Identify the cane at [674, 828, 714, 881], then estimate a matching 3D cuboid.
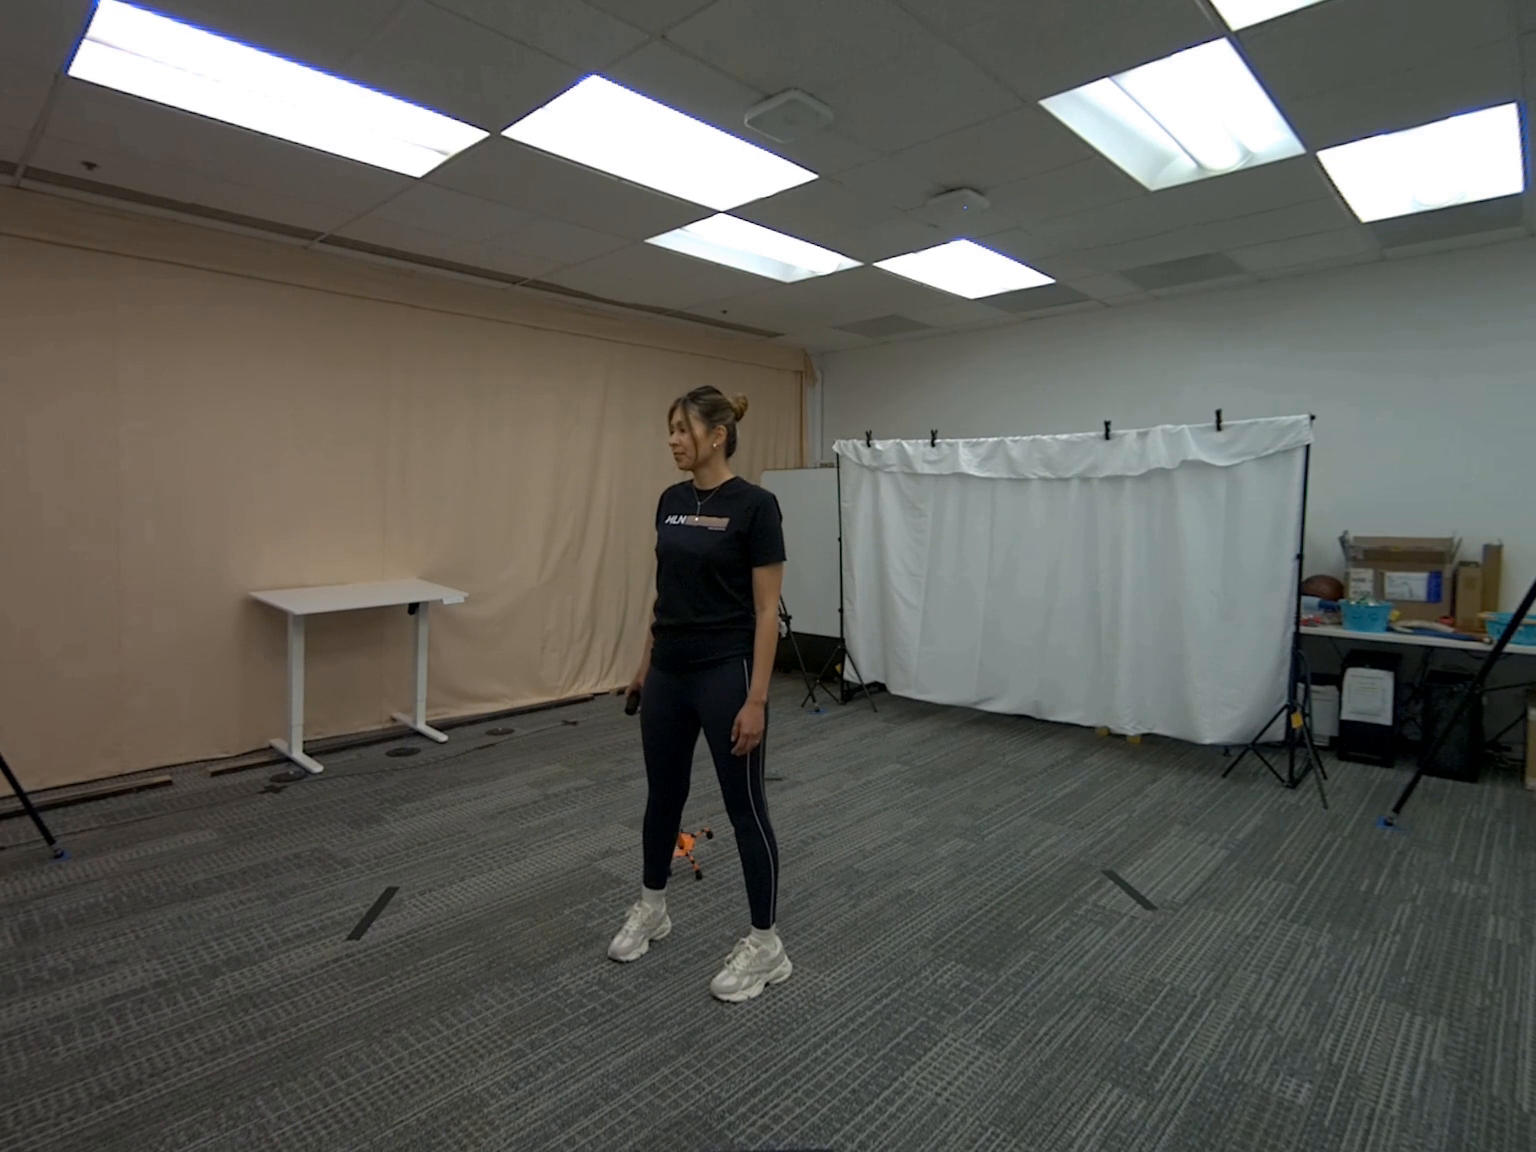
[{"bbox_3d":[-0.358,0.719,2.977,0.154,0.887,0.208,1,37,14],"label":"cane"}]
